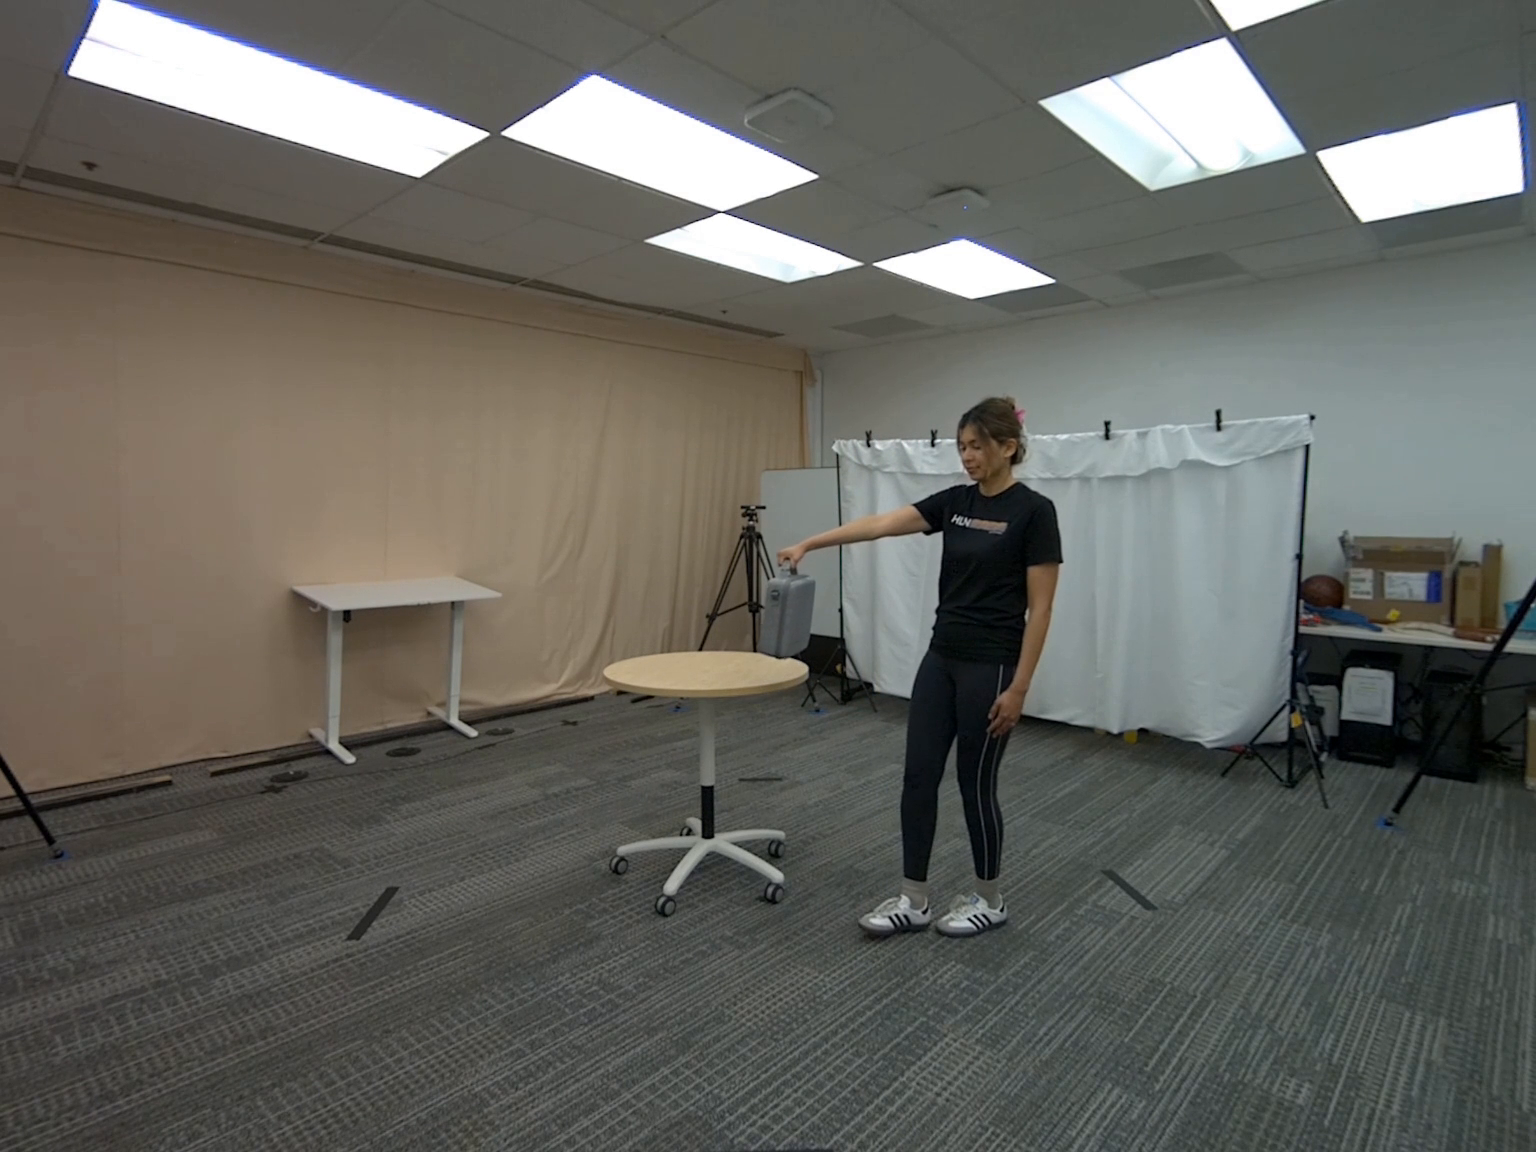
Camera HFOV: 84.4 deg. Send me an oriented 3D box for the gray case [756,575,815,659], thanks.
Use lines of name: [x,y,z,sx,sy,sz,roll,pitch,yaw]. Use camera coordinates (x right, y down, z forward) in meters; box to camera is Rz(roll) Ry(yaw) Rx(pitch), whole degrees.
gray case: [0.065,0.123,2.742,0.107,0.260,0.251,6,4,20]
